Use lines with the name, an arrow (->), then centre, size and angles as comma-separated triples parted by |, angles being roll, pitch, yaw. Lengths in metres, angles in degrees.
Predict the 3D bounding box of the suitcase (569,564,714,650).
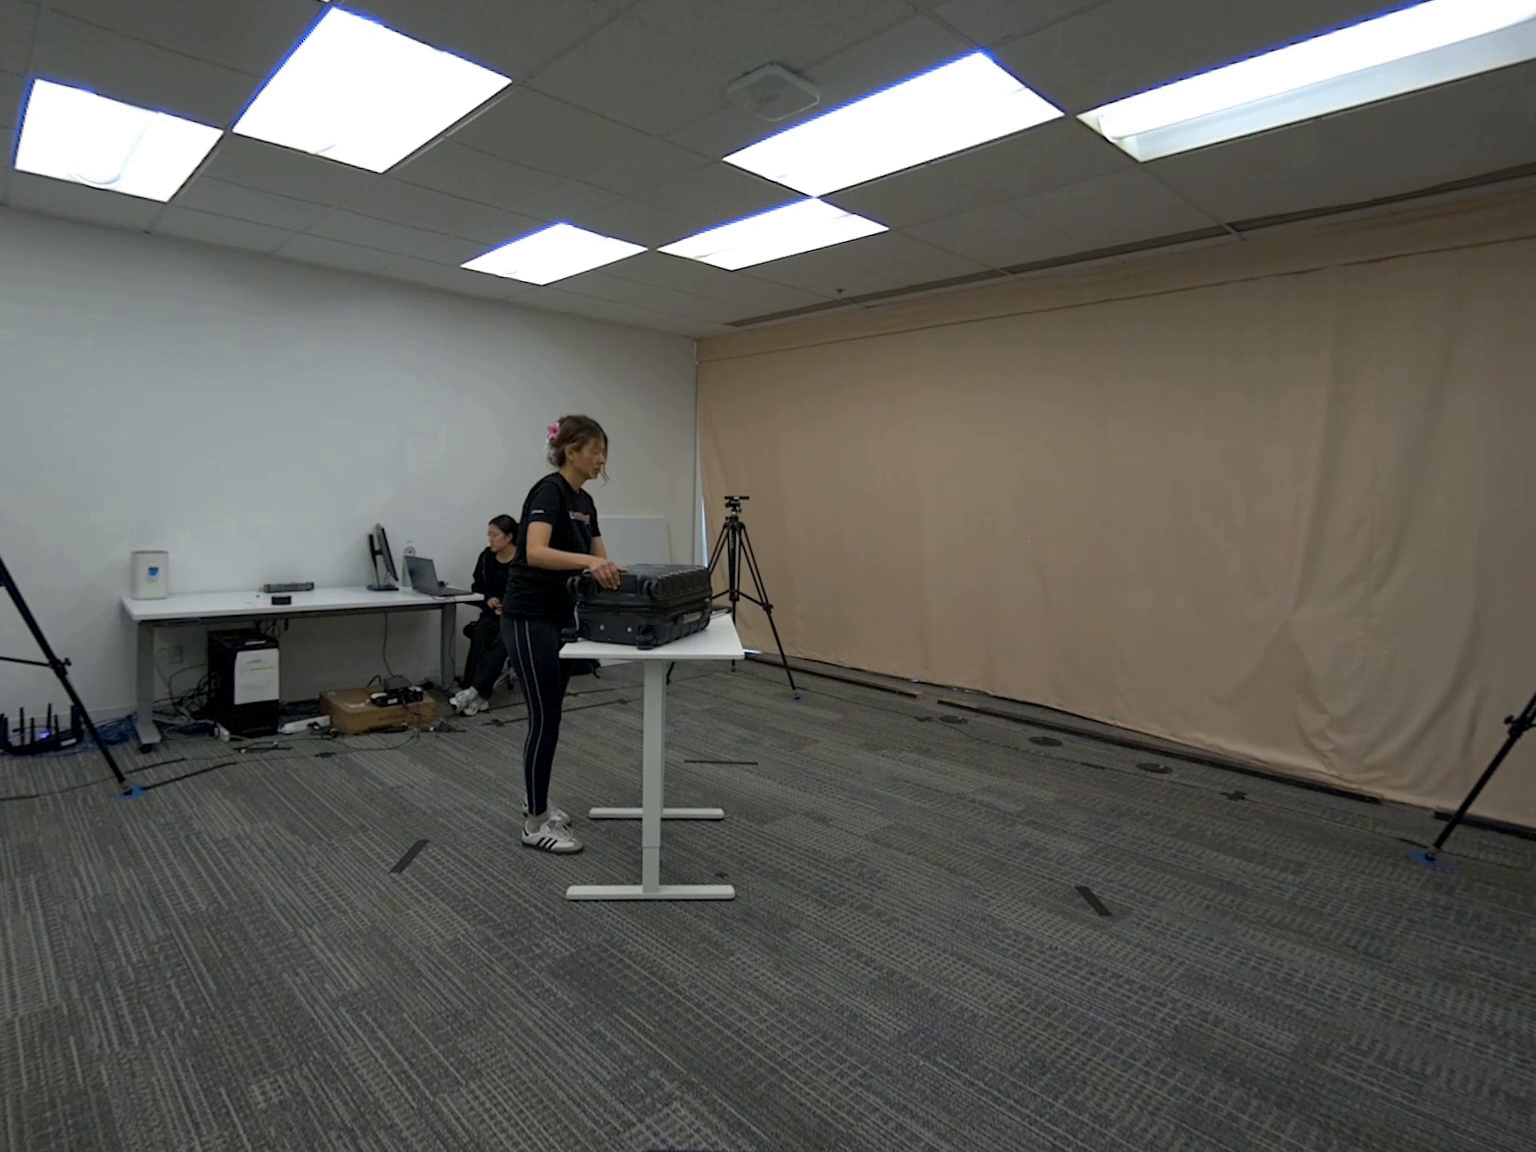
suitcase -> -0.380, 0.078, 3.264 | 0.390, 0.256, 0.968 | 2, 6, 18
